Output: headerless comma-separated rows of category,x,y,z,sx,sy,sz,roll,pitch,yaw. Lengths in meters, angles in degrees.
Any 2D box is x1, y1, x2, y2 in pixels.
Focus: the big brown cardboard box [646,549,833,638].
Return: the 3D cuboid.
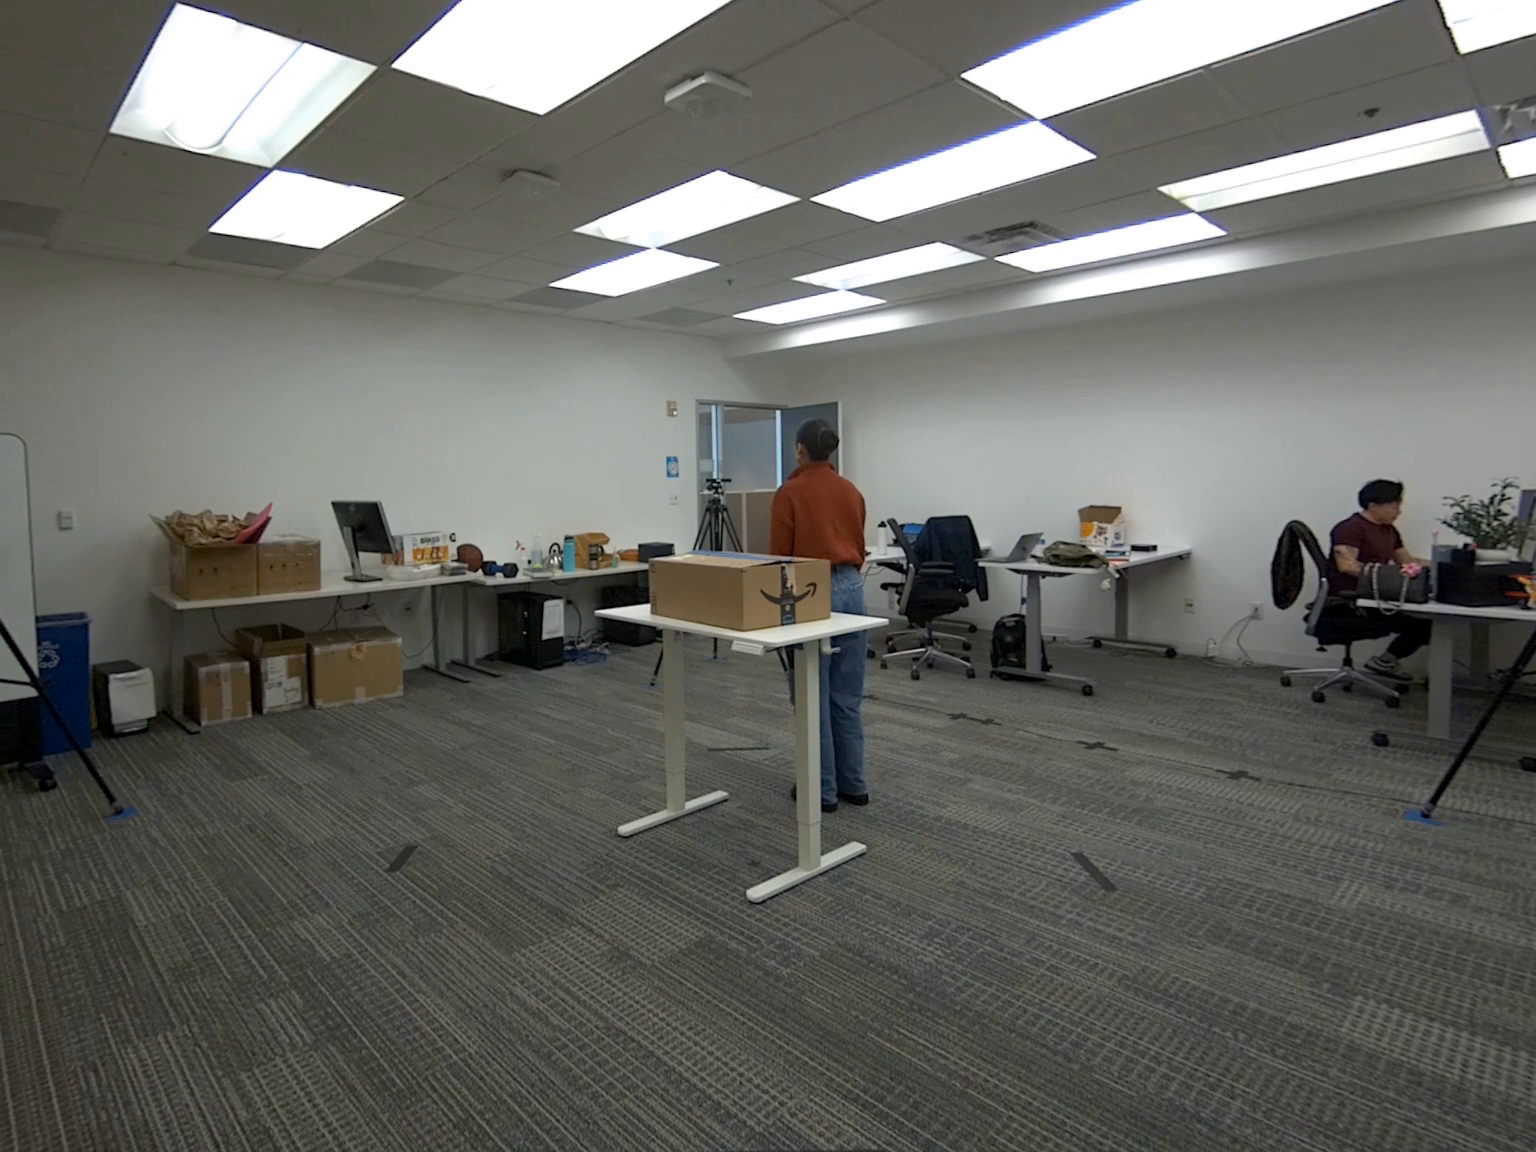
big brown cardboard box,-0.119,0.044,3.201,0.407,0.232,0.607,-5,8,-39
